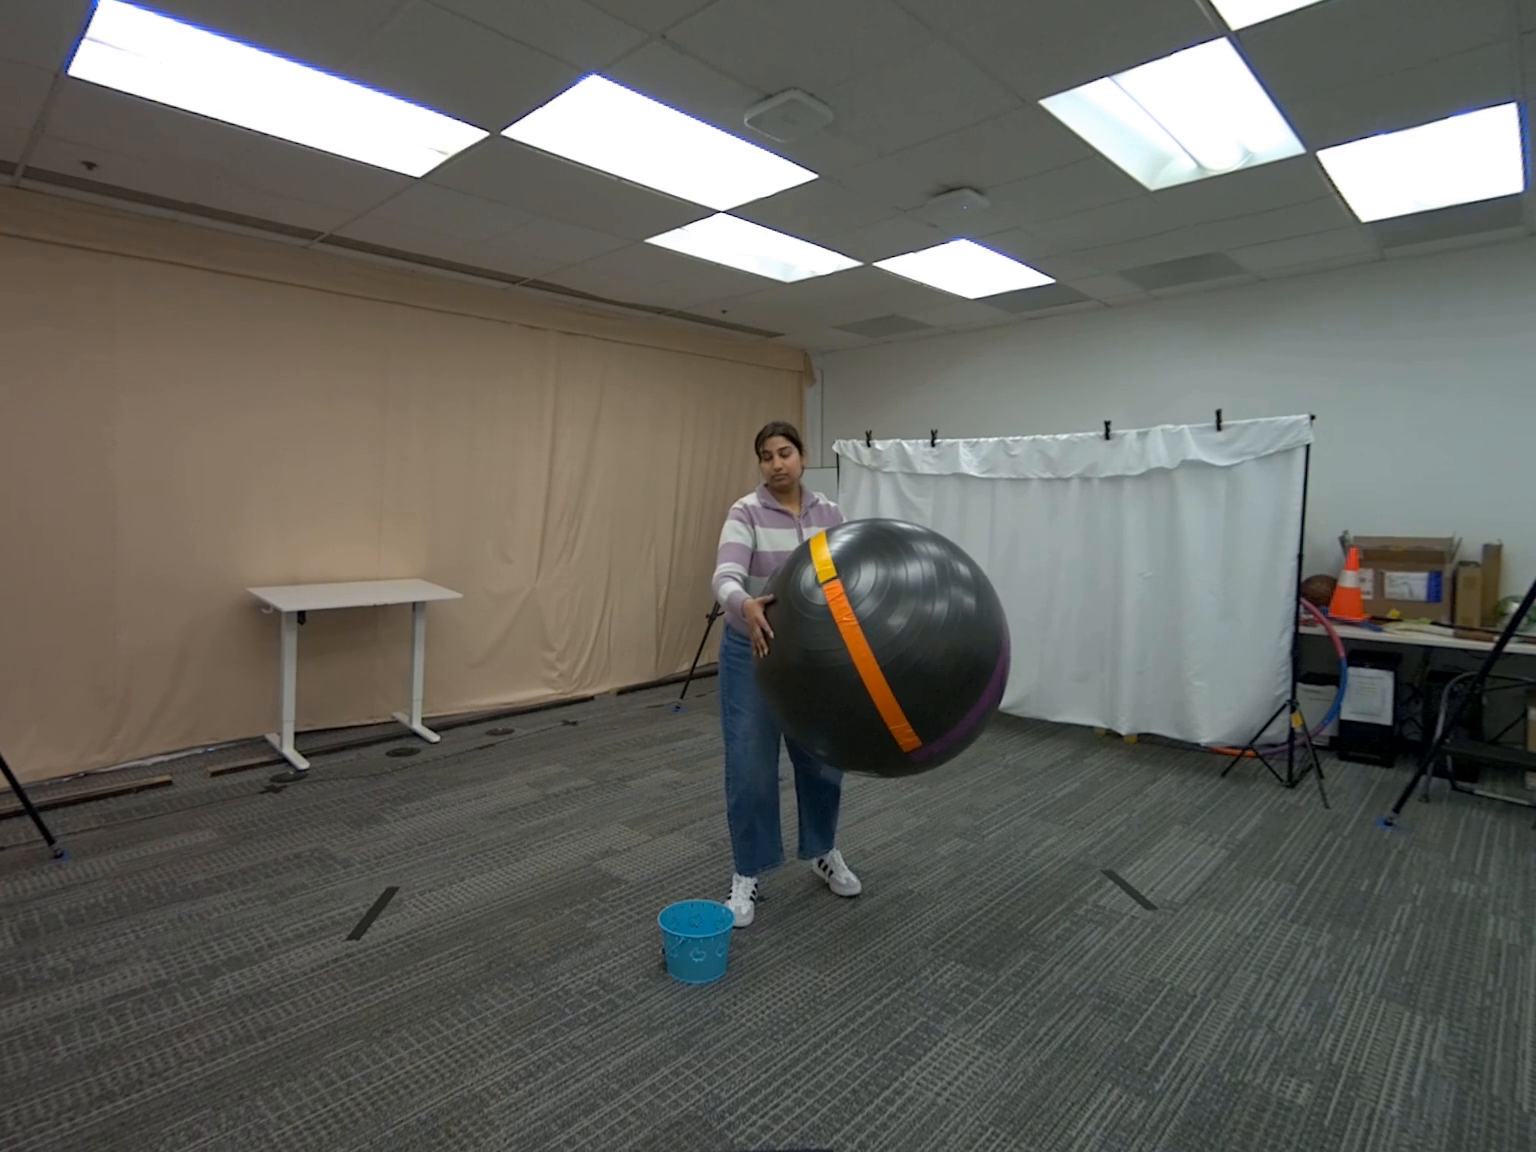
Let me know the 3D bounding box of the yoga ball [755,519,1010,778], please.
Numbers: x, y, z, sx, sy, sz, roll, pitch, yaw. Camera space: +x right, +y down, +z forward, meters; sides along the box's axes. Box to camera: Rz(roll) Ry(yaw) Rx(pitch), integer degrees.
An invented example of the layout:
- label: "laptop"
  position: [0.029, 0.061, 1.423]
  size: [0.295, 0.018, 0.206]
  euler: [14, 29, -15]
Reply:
- label: "yoga ball"
  position: [0.341, 0.215, 2.497]
  size: [0.757, 0.756, 0.761]
  euler: [0, 4, -2]
